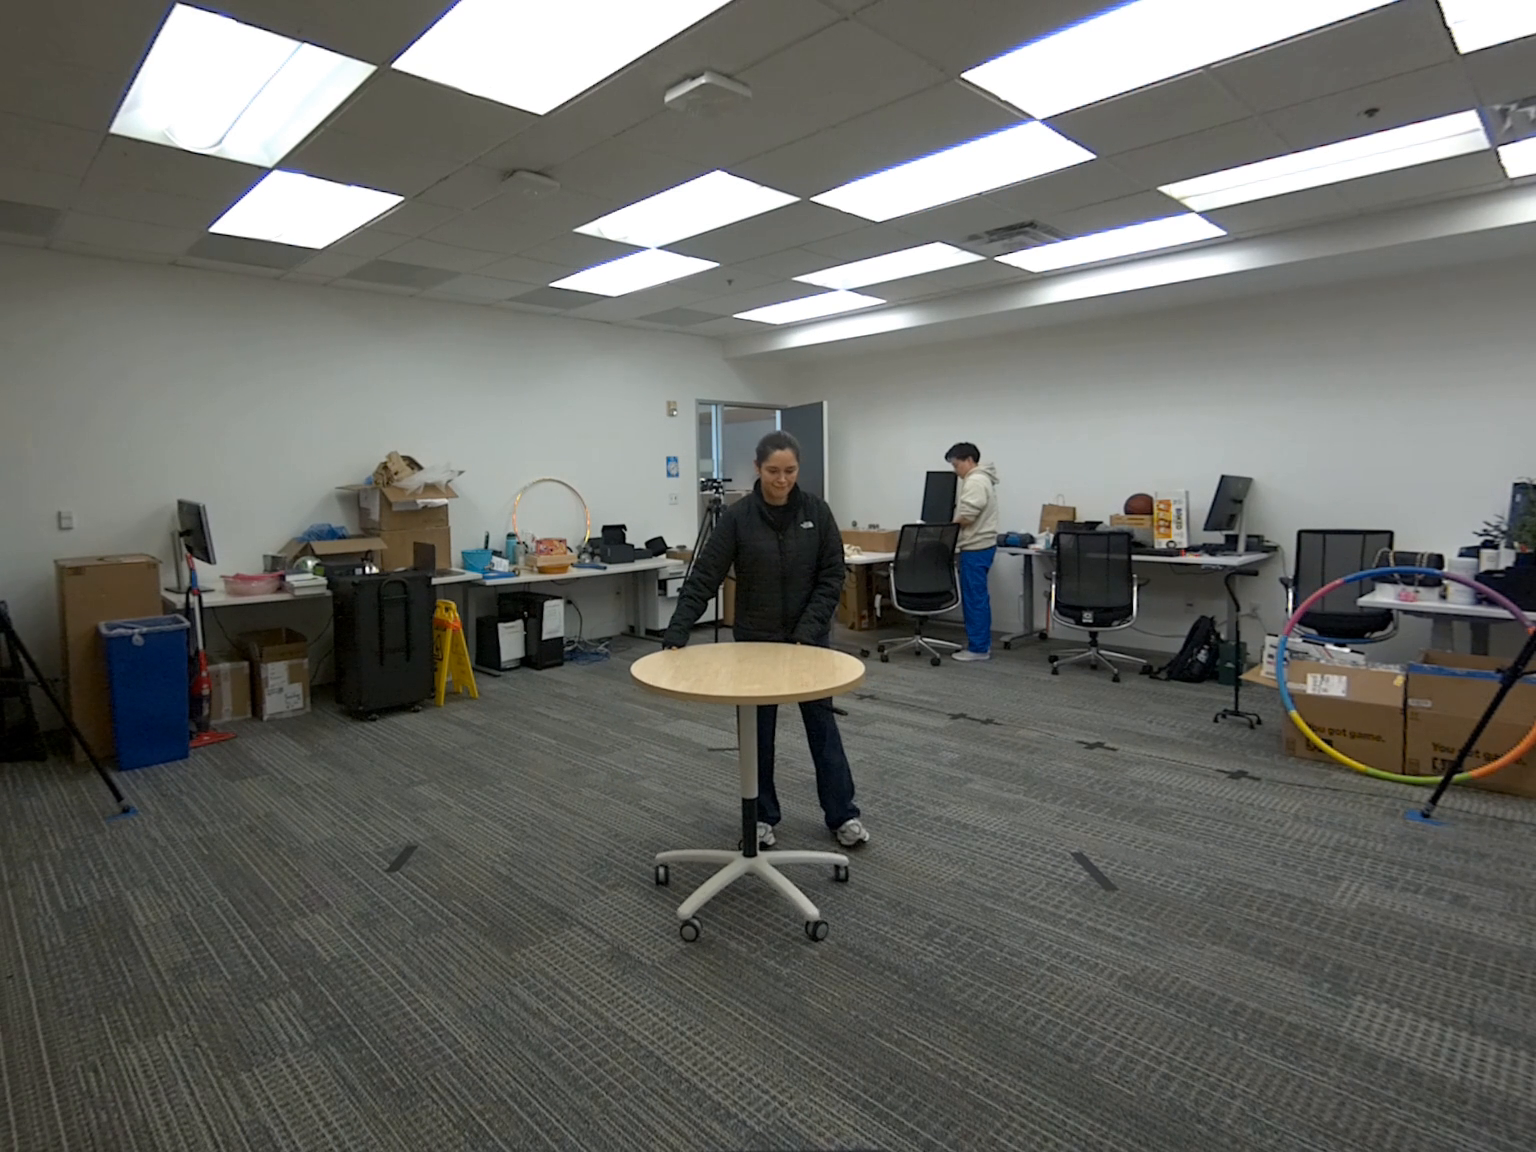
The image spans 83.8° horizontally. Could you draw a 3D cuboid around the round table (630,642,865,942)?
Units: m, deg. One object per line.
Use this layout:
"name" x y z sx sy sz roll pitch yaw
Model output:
"round table" -0.059 0.685 2.835 0.784 0.783 0.789 -1 5 -2
